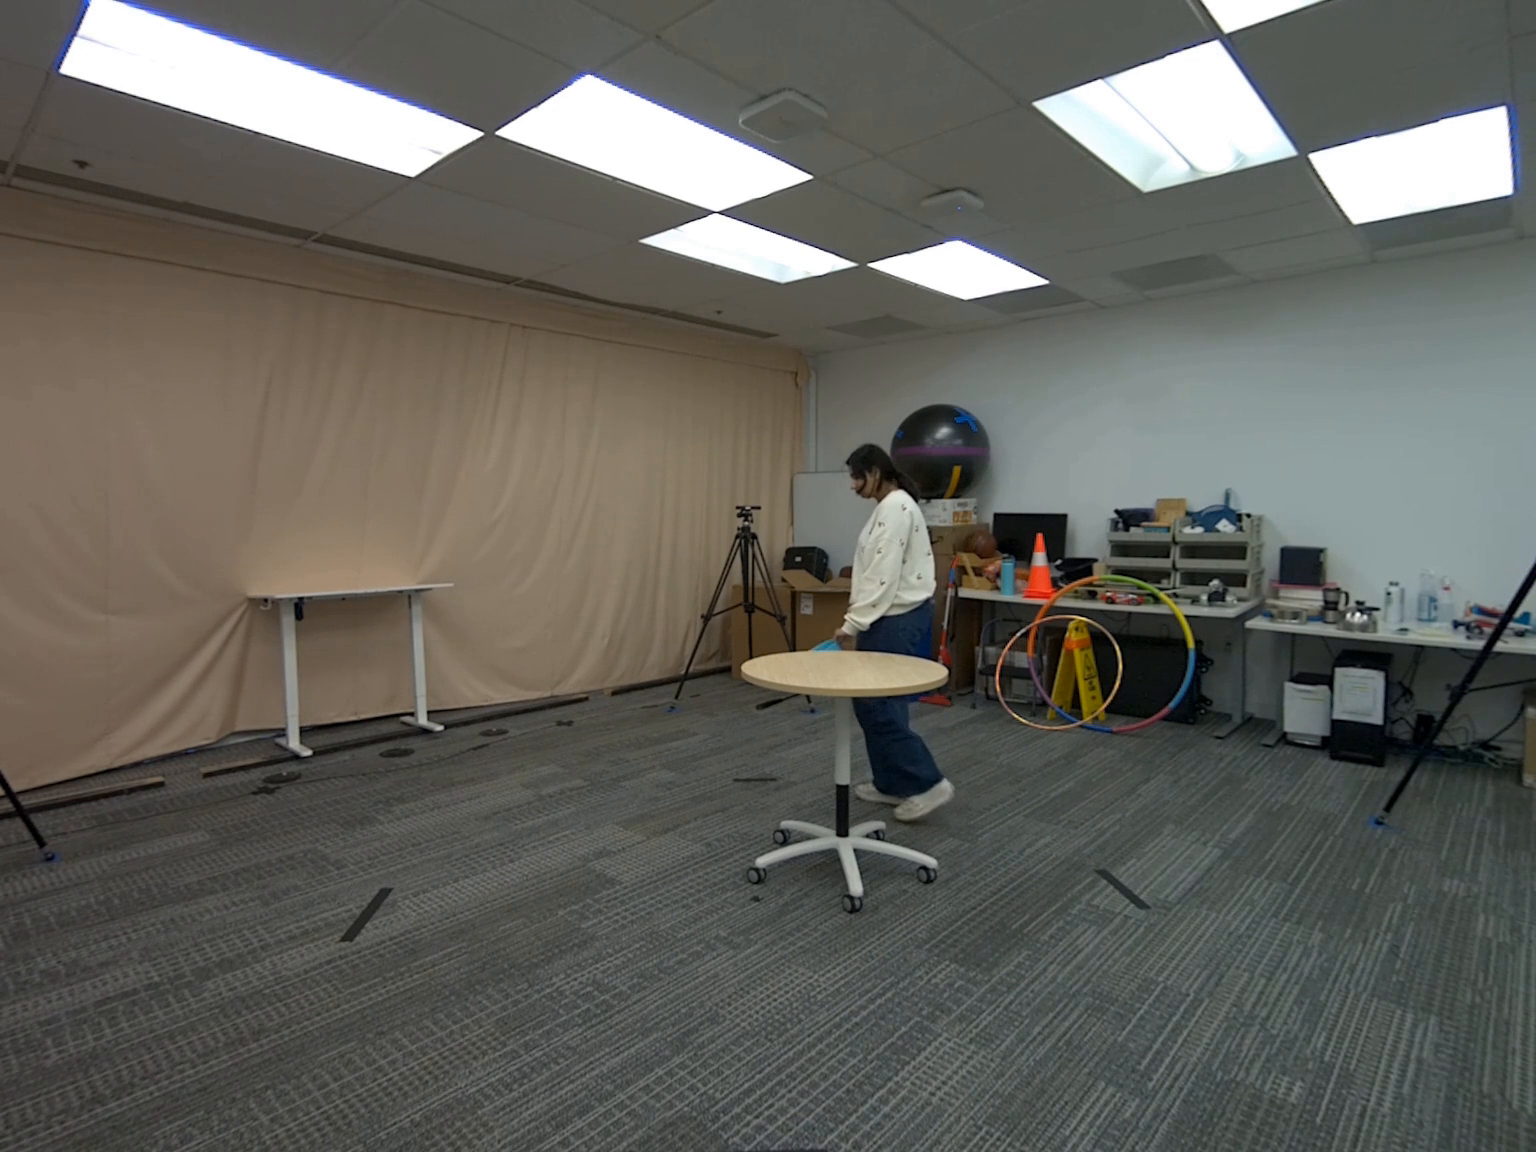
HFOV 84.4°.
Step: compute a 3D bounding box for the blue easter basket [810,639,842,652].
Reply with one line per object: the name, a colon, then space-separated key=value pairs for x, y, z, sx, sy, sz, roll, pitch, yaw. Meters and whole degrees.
blue easter basket: x=0.254 y=0.400 z=3.760 sx=0.243 sy=0.155 sz=0.244 roll=-29 pitch=3 yaw=-1
